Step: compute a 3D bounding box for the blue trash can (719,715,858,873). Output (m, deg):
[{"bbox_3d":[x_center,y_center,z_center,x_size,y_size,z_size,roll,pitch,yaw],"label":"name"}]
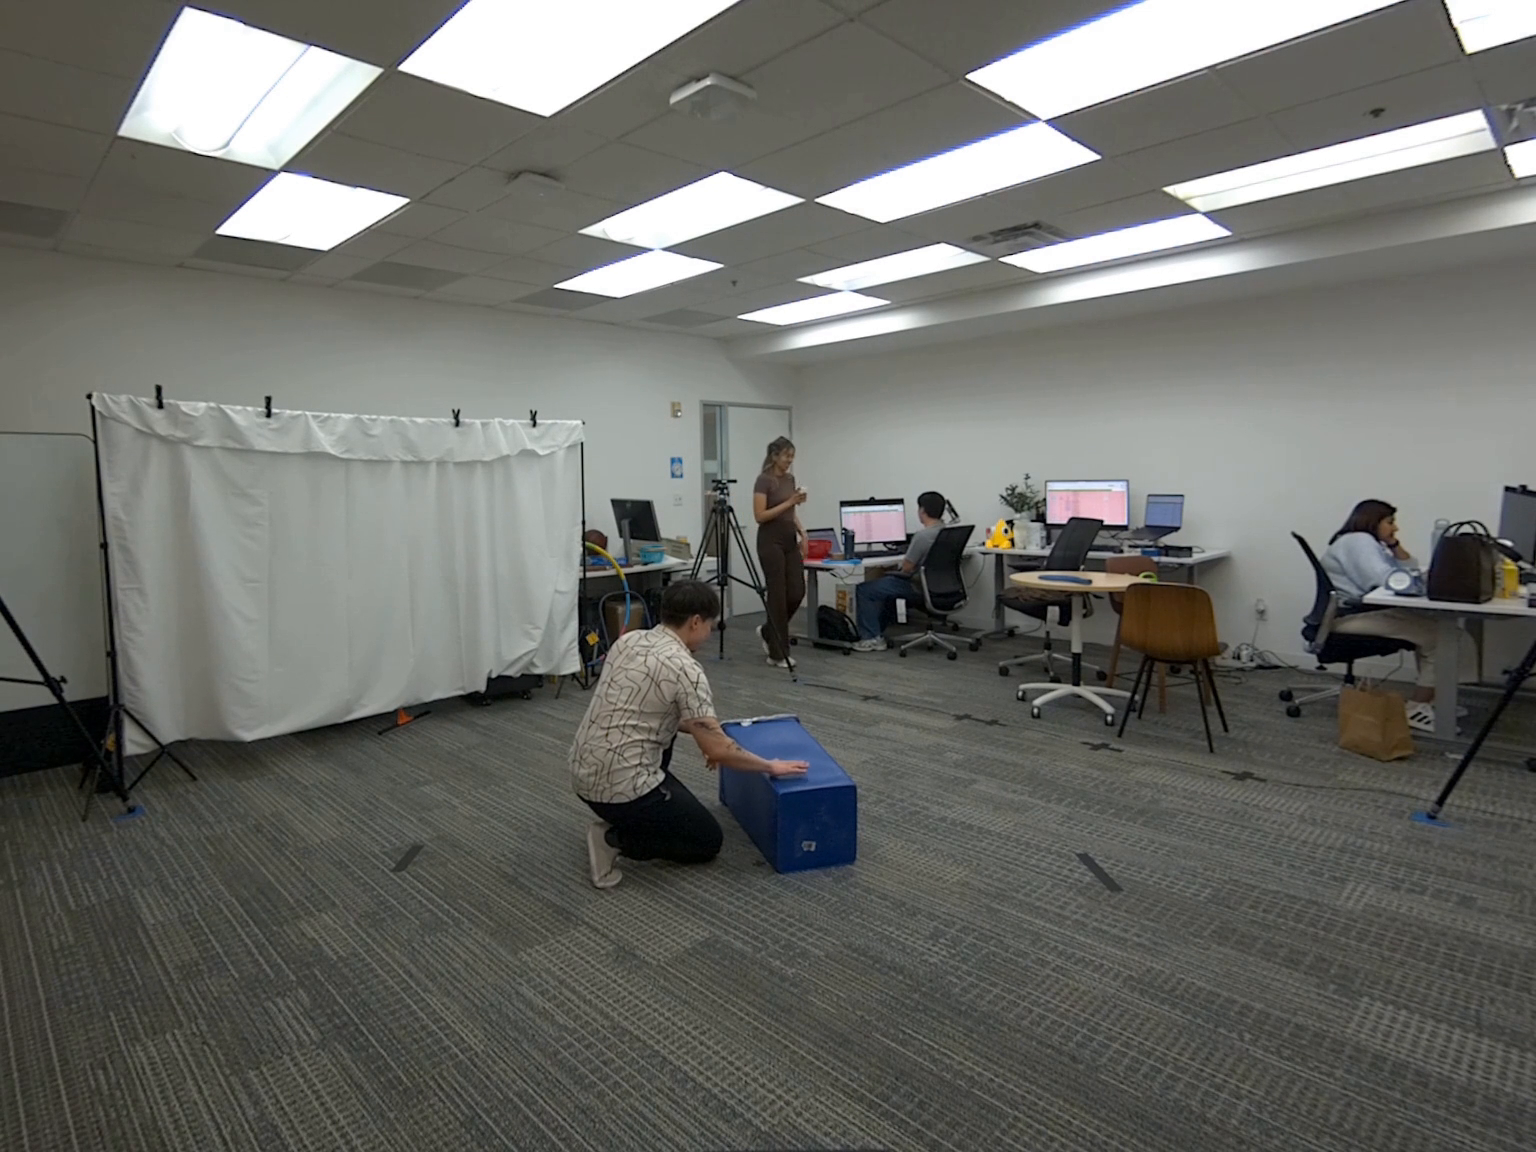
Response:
[{"bbox_3d":[0.060,0.846,3.380,0.373,0.371,0.729,-3,9,-16],"label":"blue trash can"}]
